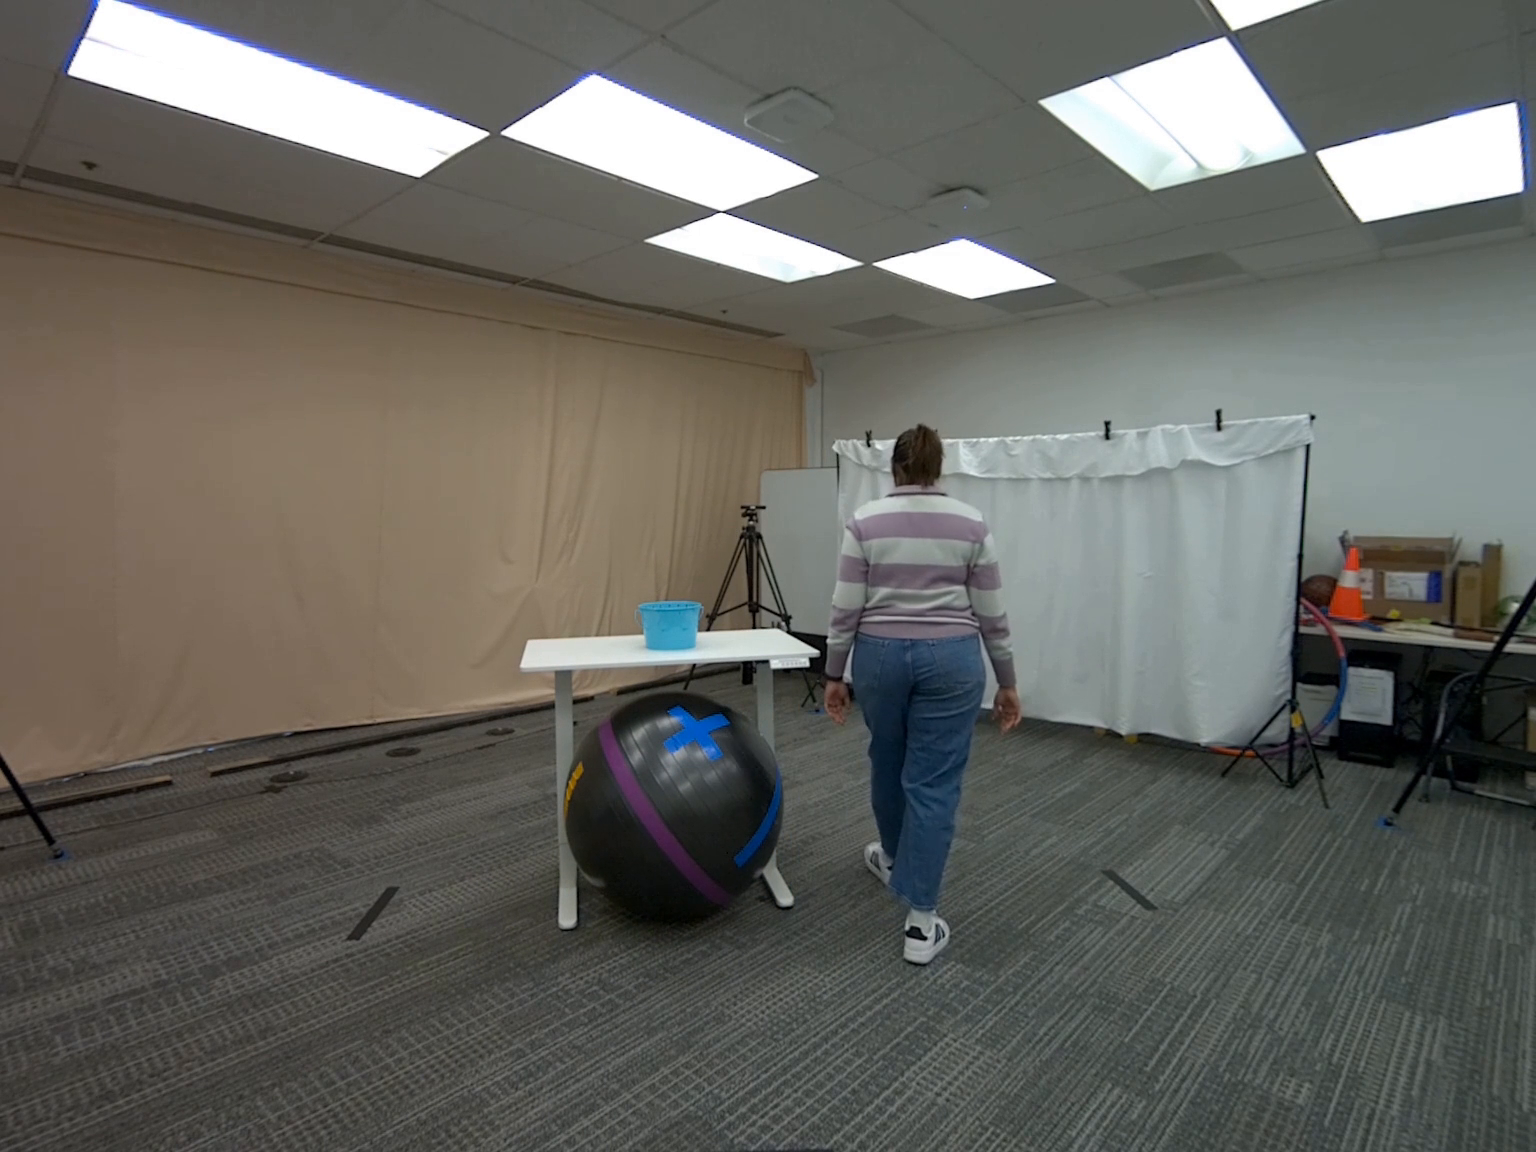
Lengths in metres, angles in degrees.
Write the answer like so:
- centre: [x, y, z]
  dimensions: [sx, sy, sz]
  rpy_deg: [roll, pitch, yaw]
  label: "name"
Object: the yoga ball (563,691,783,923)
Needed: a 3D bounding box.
- centre: [-0.330, 0.789, 2.917]
  dimensions: [0.757, 0.756, 0.760]
  rpy_deg: [0, 4, -2]
  label: "yoga ball"
